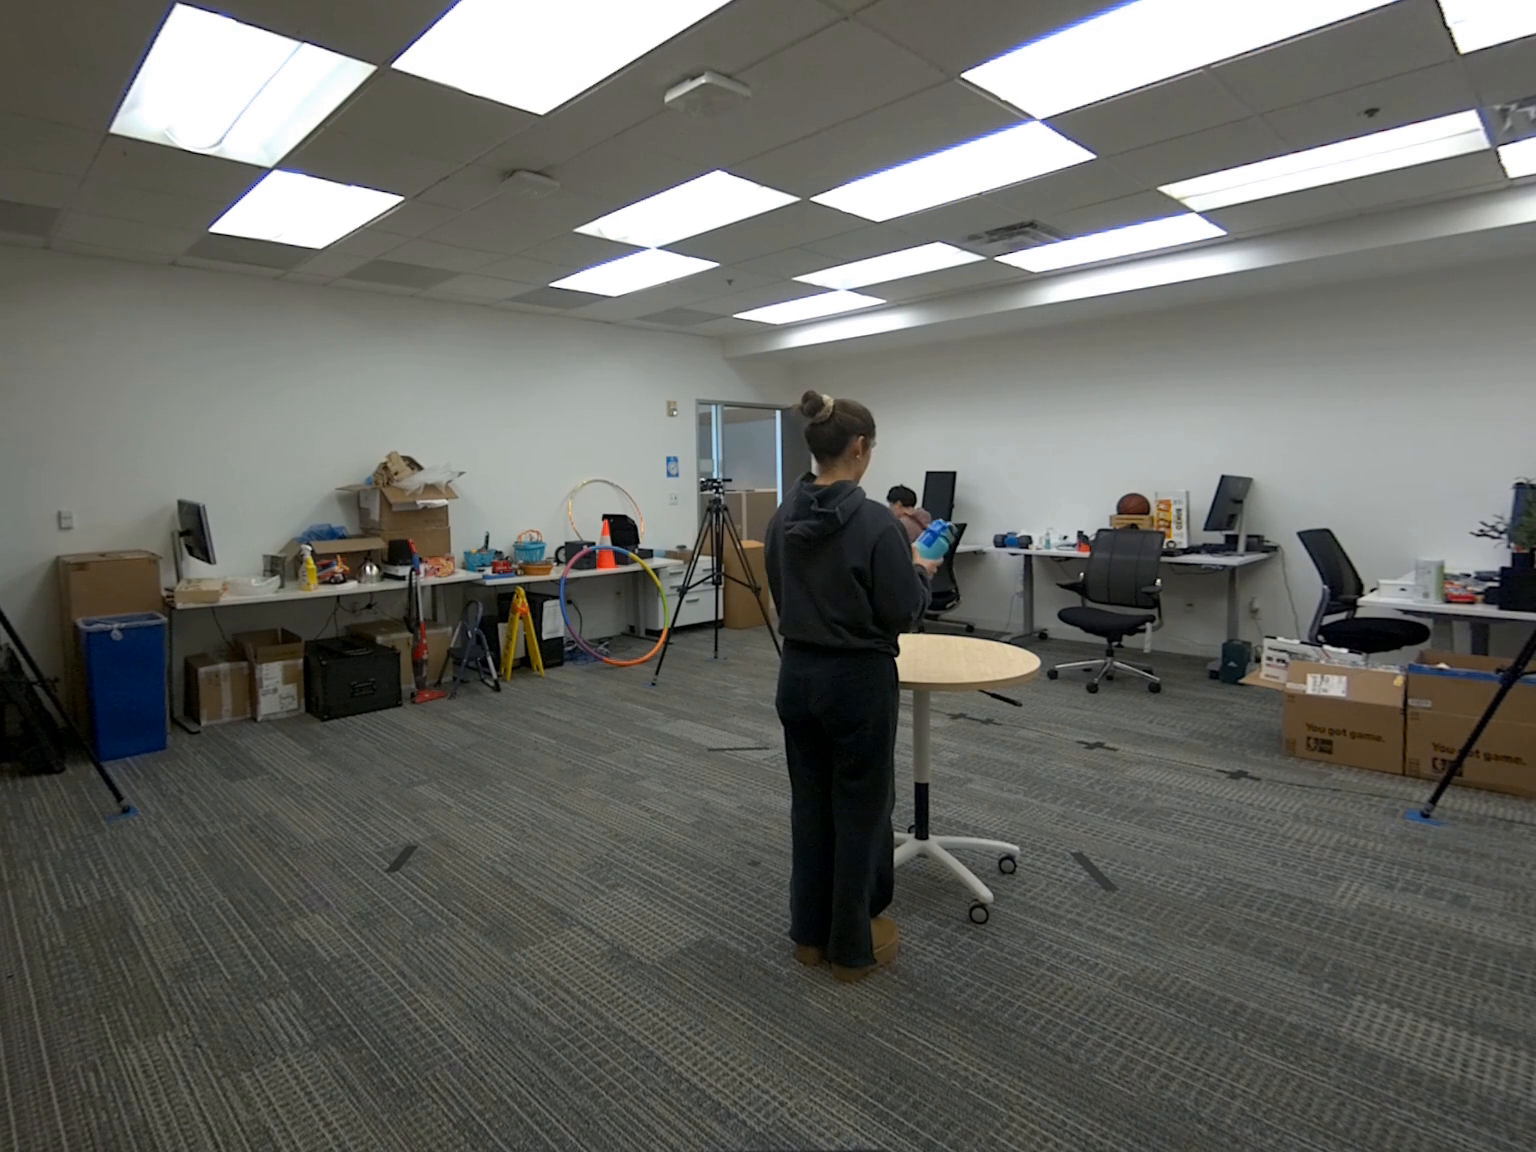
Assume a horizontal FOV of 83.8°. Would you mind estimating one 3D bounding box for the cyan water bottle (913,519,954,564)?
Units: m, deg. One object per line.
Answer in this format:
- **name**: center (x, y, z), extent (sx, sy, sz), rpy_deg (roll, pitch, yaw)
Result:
- **cyan water bottle**: center (0.457, -0.055, 2.571), extent (0.092, 0.283, 0.092), rpy_deg (40, -2, -1)
